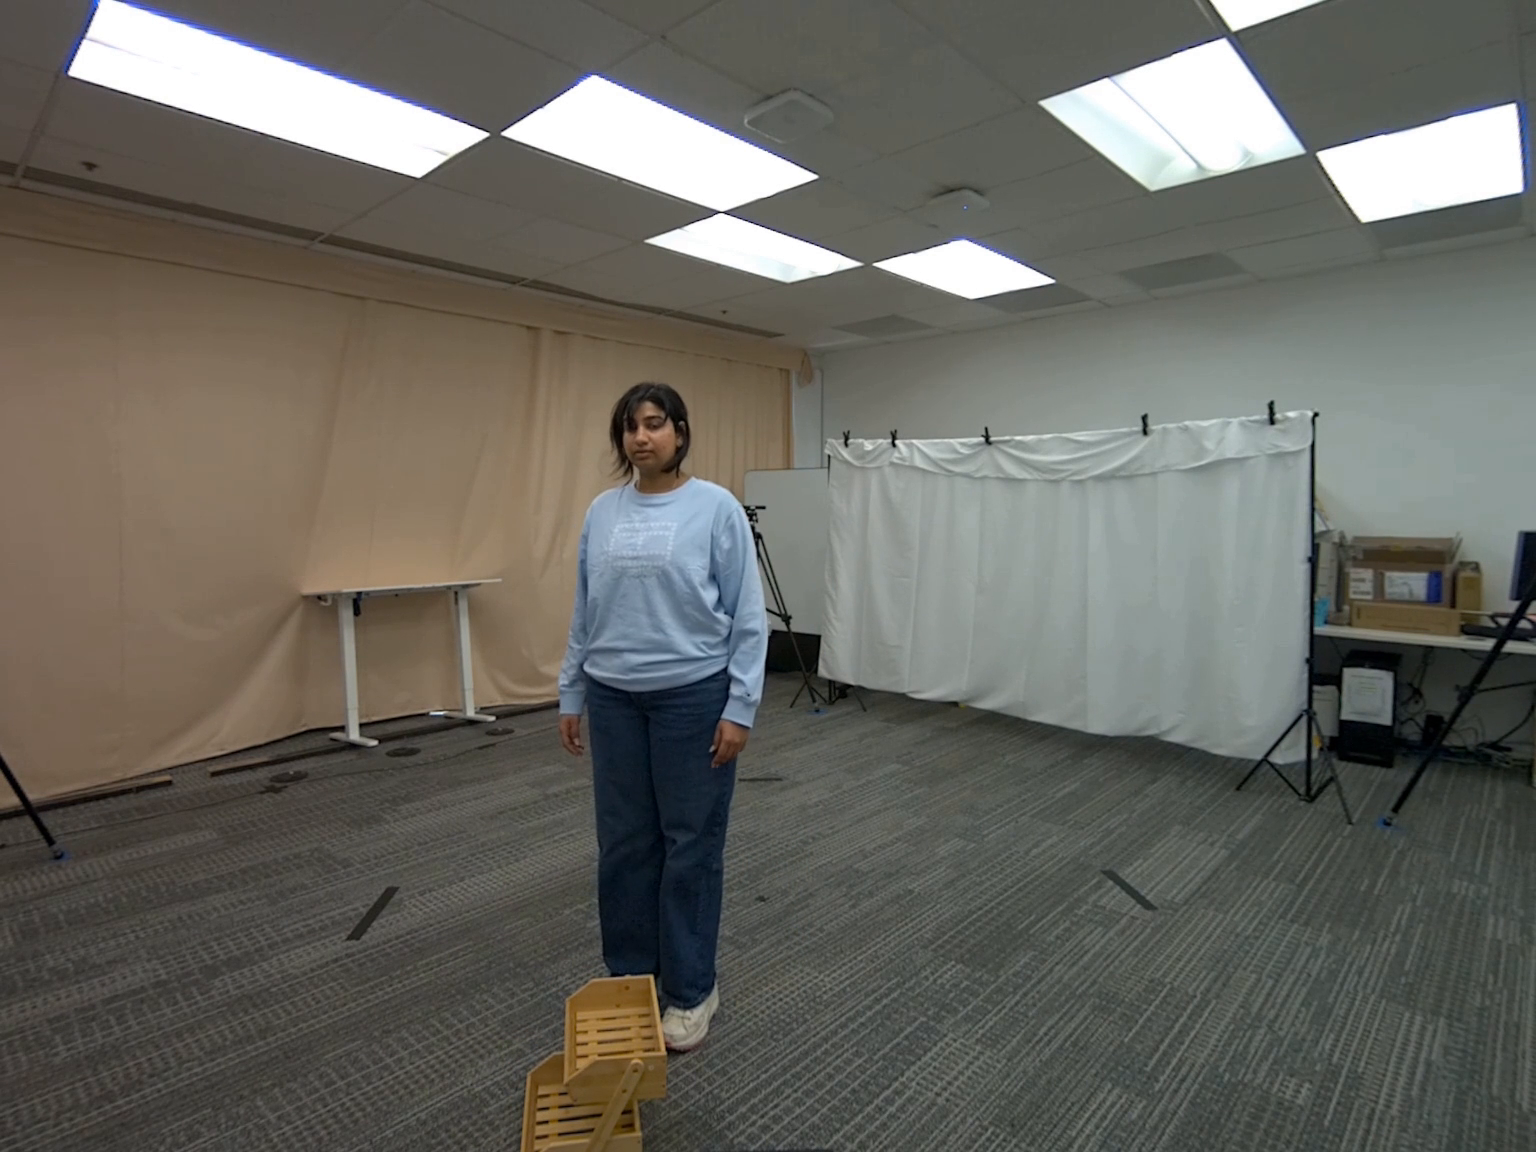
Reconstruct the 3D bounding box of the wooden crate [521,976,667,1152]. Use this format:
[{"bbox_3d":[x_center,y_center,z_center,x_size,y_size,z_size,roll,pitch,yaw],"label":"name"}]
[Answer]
[{"bbox_3d":[-0.400,1.104,1.864,0.299,0.273,0.328,0,4,-11],"label":"wooden crate"}]
